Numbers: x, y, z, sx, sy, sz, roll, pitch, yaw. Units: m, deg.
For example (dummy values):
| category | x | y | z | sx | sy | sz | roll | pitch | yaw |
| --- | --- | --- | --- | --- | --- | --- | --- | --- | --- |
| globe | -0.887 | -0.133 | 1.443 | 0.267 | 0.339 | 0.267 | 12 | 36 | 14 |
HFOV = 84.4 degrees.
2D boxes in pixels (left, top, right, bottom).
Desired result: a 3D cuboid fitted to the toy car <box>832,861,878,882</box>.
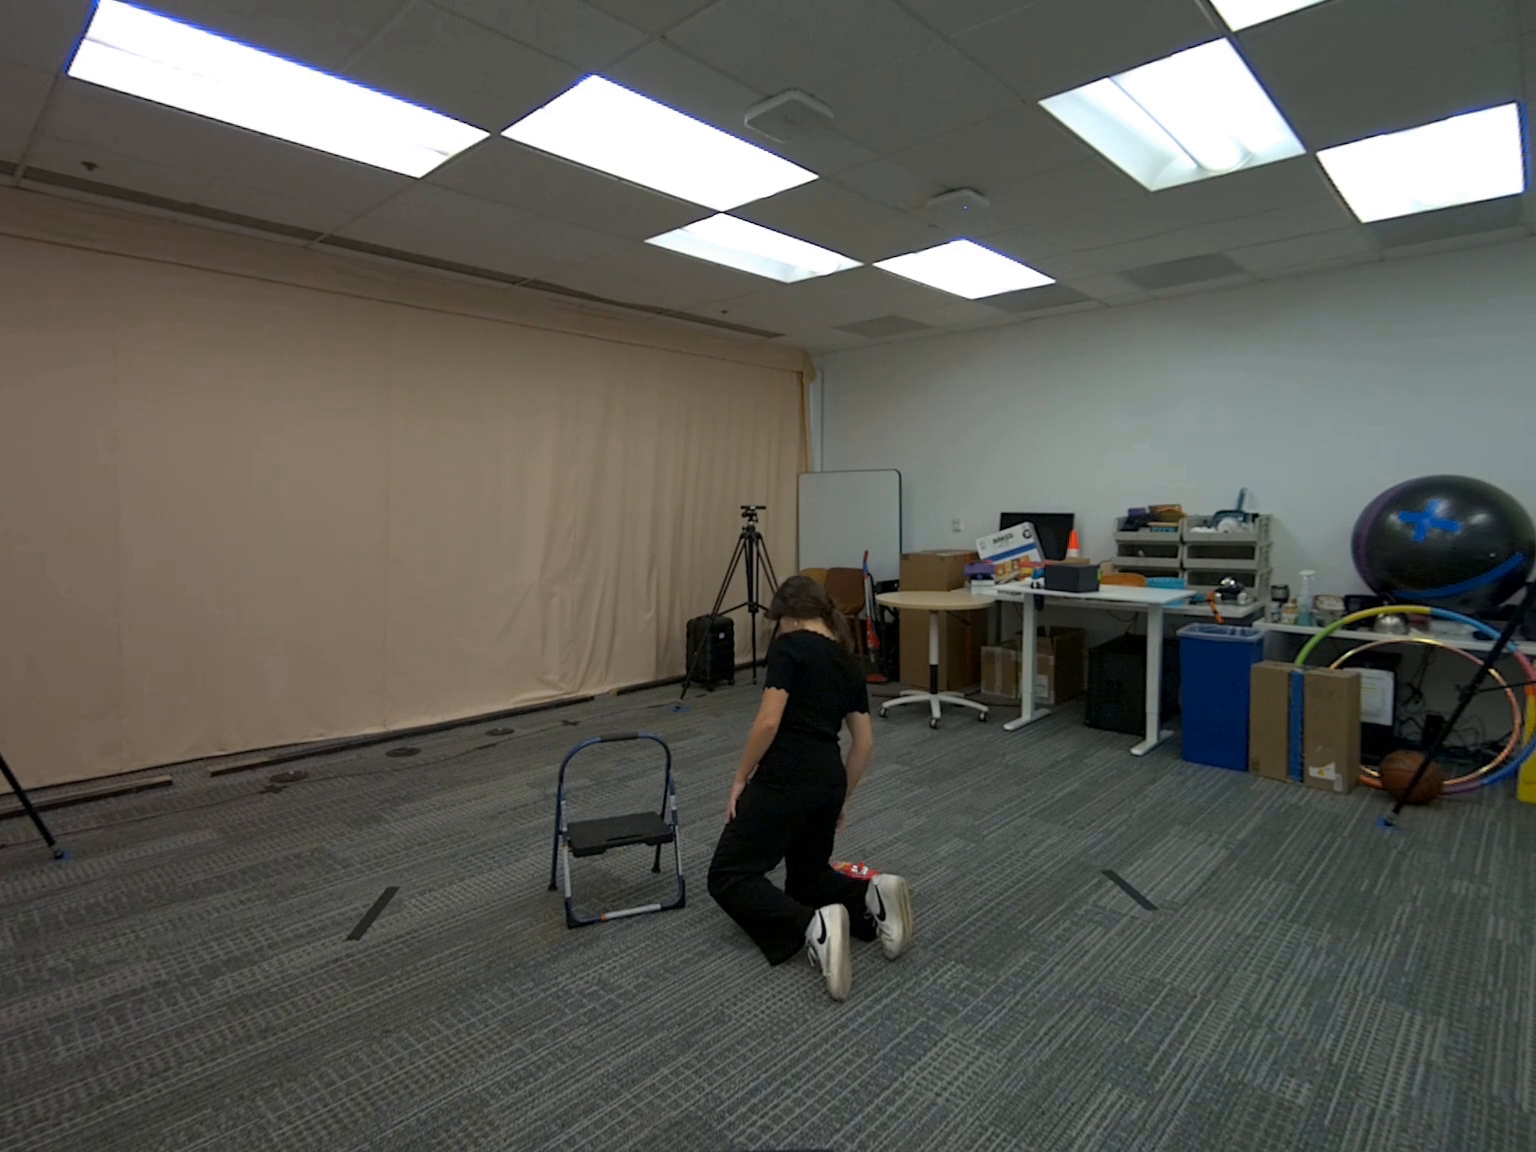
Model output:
| category | x | y | z | sx | sy | sz | roll | pitch | yaw |
| --- | --- | --- | --- | --- | --- | --- | --- | --- | --- |
| toy car | 0.292 | 1.101 | 3.082 | 0.258 | 0.083 | 0.128 | -10 | 0 | 16 |
